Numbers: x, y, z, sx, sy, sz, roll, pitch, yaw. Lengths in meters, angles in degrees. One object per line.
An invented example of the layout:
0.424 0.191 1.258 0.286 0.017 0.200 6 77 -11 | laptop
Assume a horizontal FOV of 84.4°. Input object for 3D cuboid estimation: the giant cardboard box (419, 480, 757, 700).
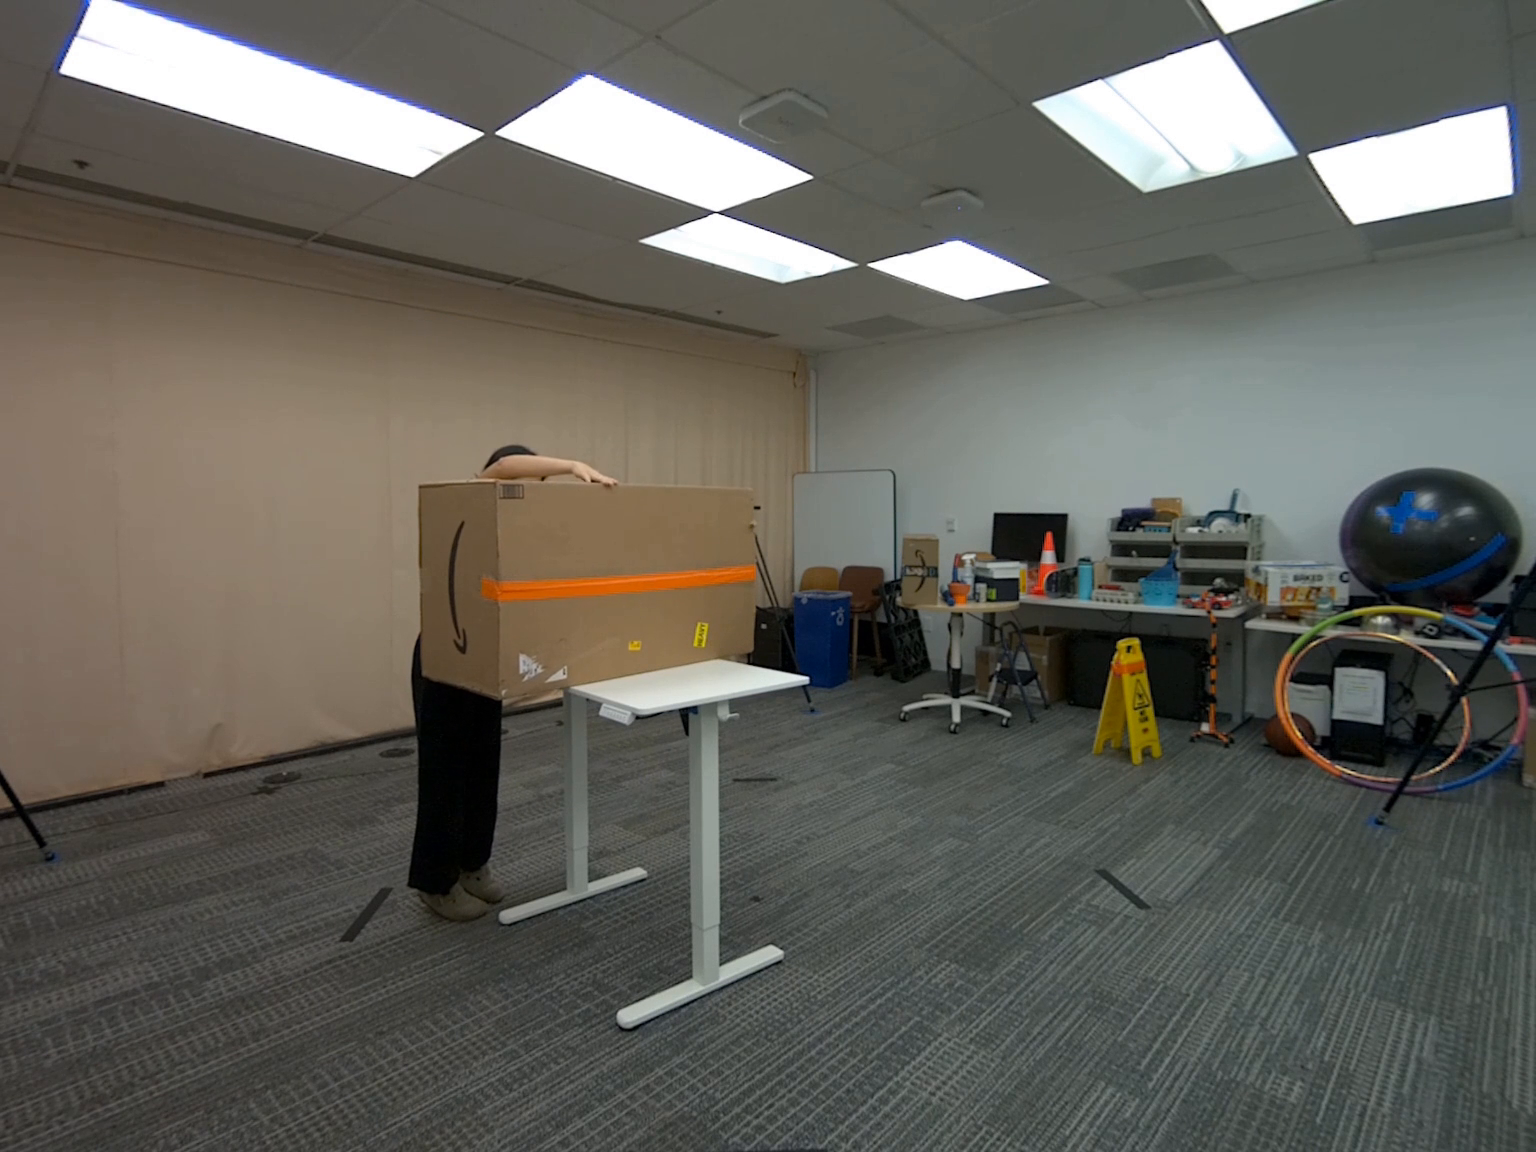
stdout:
-0.527 -0.003 2.700 0.440 0.576 0.994 4 5 41 | giant cardboard box
